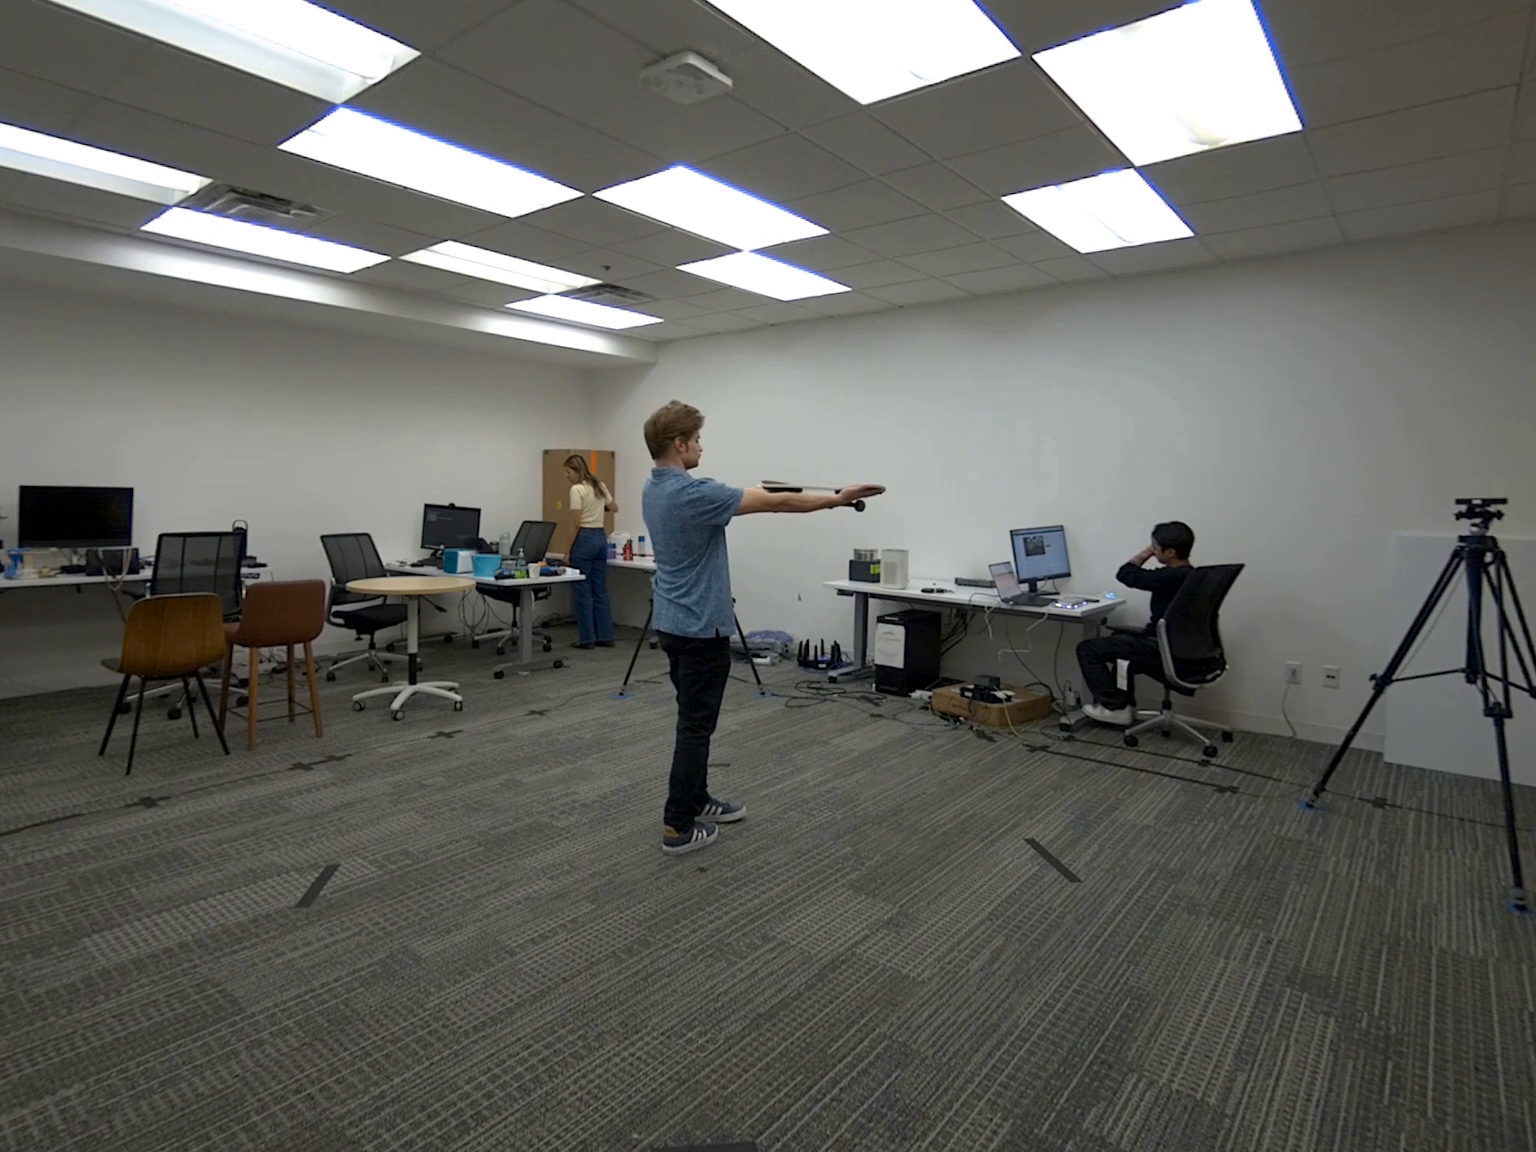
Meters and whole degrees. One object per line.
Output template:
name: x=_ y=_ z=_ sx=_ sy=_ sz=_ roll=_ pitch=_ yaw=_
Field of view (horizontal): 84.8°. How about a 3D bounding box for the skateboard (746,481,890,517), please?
skateboard: x=0.189 y=-0.344 z=3.650 sx=0.188 sy=0.109 sz=0.811 roll=-5 pitch=9 yaw=-31
